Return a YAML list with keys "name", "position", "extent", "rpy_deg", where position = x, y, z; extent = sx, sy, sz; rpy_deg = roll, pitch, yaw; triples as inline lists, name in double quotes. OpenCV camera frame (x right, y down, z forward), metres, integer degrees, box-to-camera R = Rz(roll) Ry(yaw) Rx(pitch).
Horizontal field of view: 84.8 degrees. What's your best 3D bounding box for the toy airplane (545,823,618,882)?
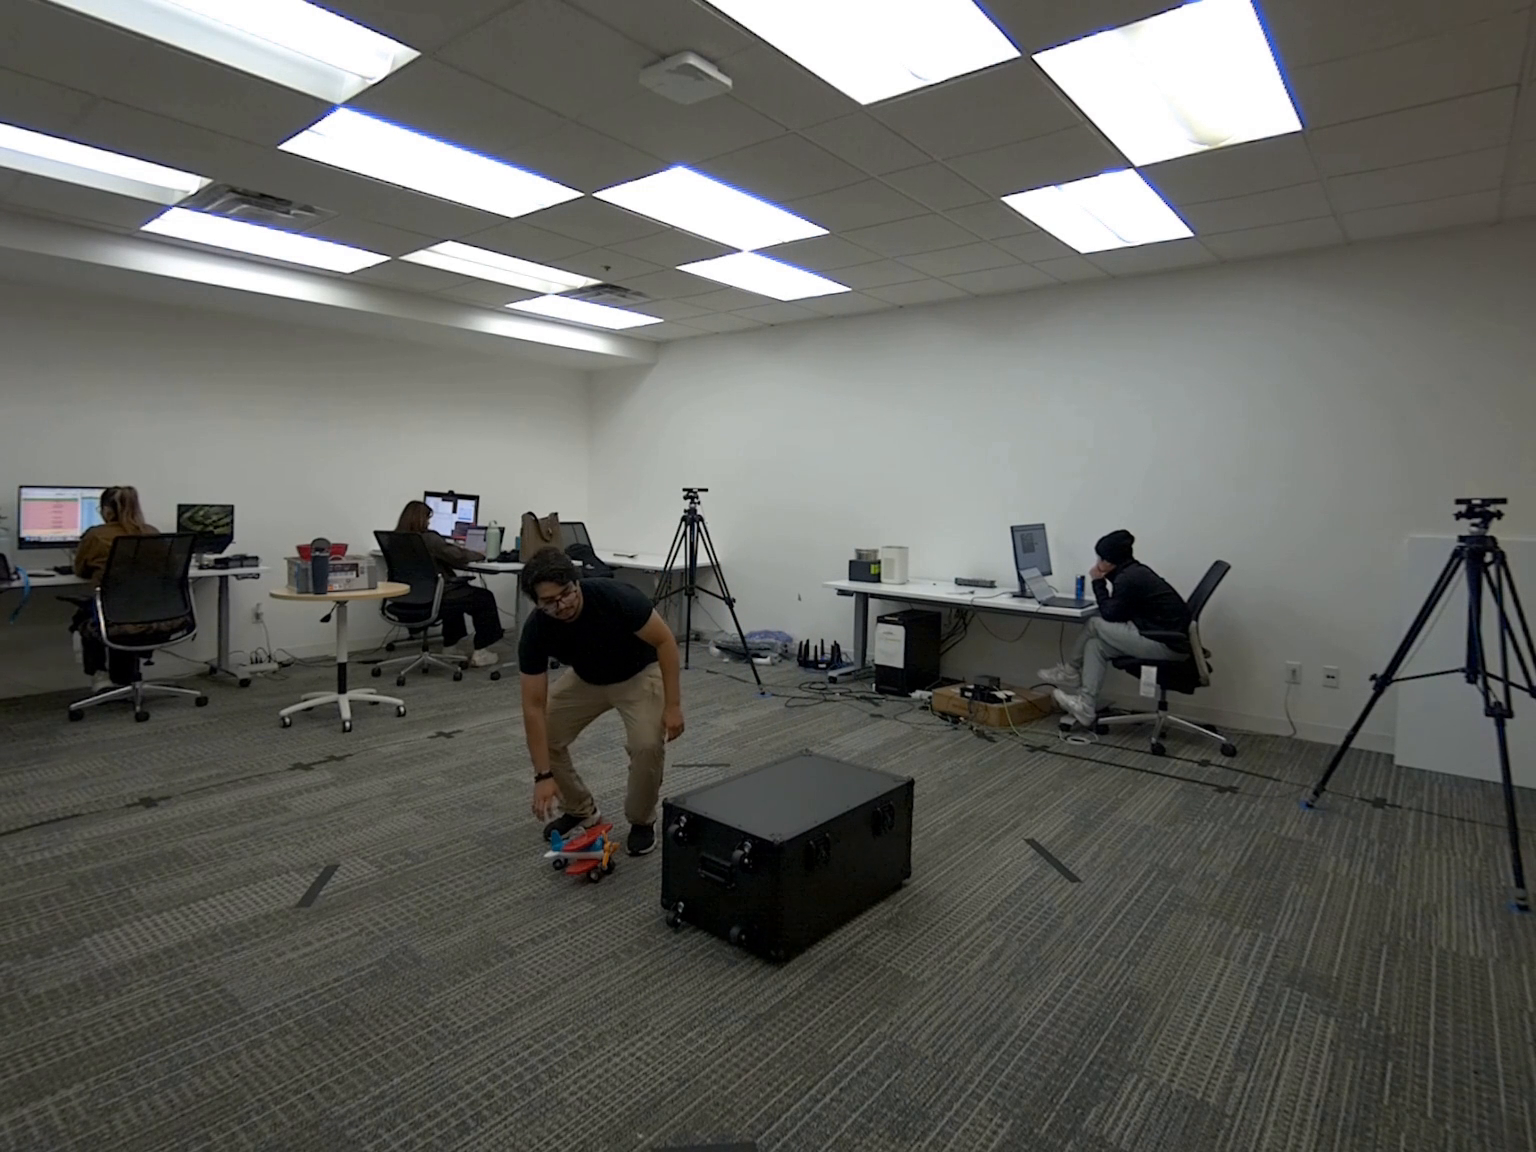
- name: "toy airplane"
  position: [-0.686, 0.994, 3.051]
  extent: [0.258, 0.156, 0.253]
  rpy_deg: [3, 5, -6]
